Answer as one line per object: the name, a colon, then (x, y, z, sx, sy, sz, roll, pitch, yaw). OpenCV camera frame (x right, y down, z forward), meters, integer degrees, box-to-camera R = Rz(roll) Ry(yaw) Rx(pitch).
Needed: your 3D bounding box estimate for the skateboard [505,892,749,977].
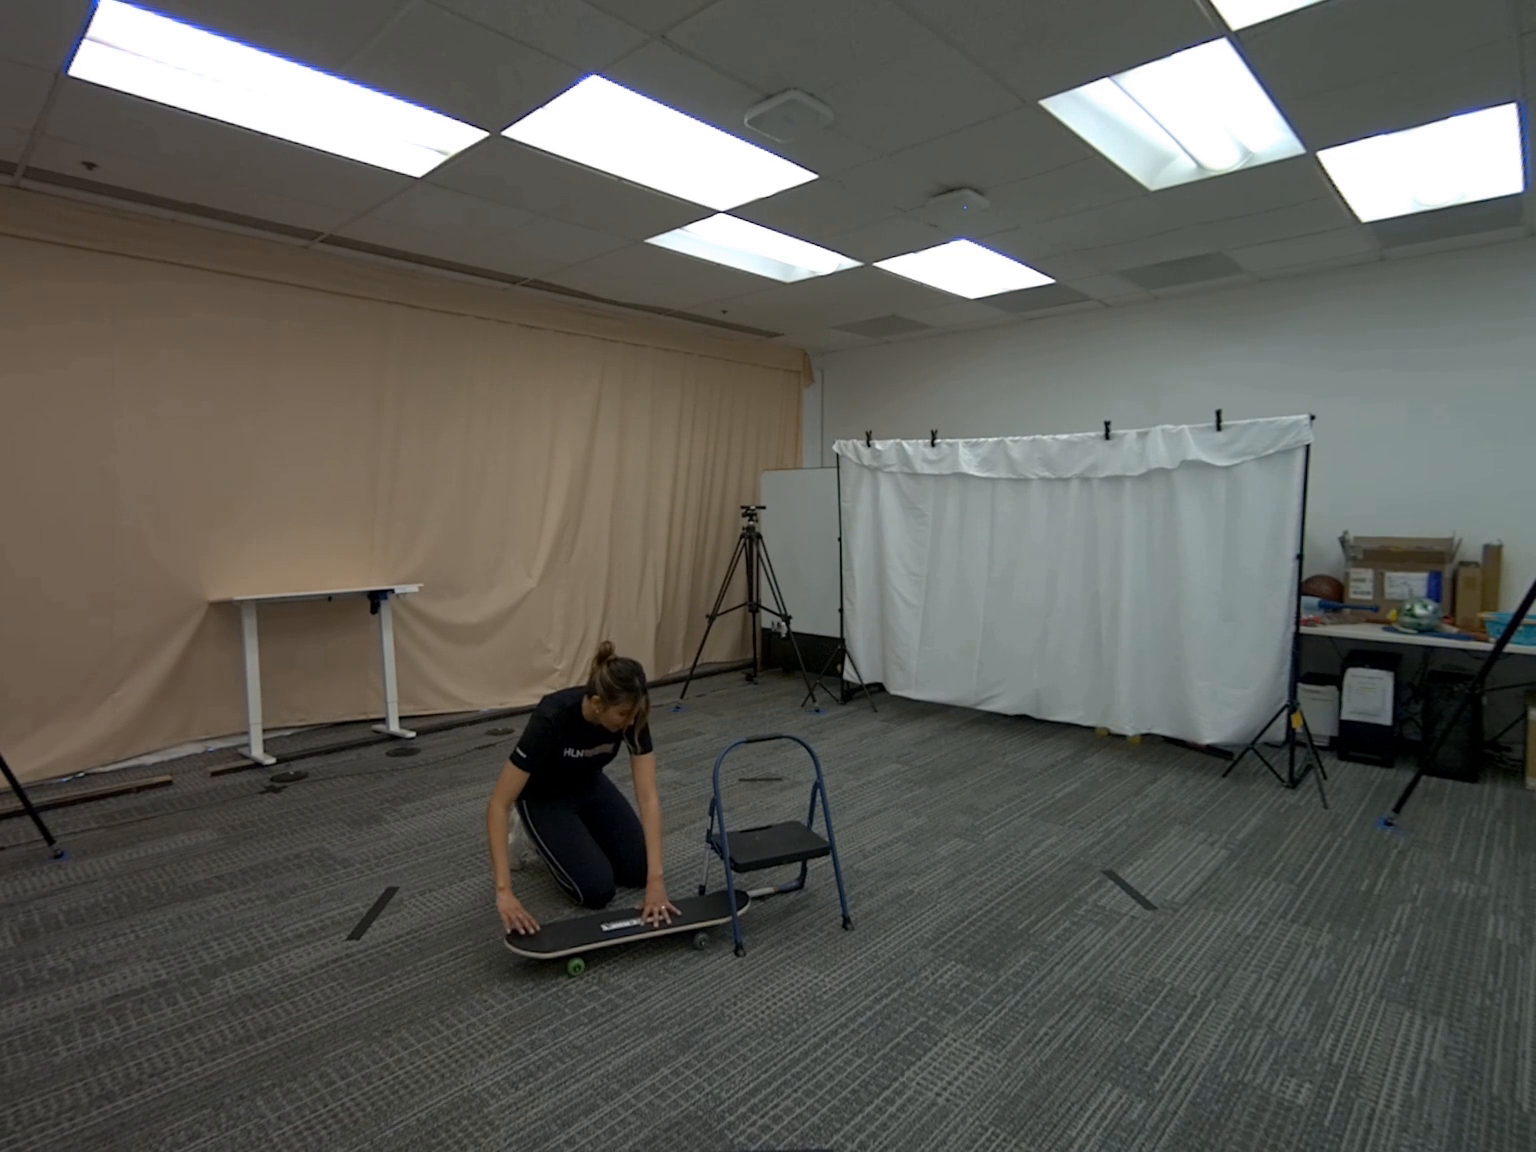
skateboard: (-0.414, 1.108, 2.642, 0.770, 0.110, 0.197, -2, 2, -20)
